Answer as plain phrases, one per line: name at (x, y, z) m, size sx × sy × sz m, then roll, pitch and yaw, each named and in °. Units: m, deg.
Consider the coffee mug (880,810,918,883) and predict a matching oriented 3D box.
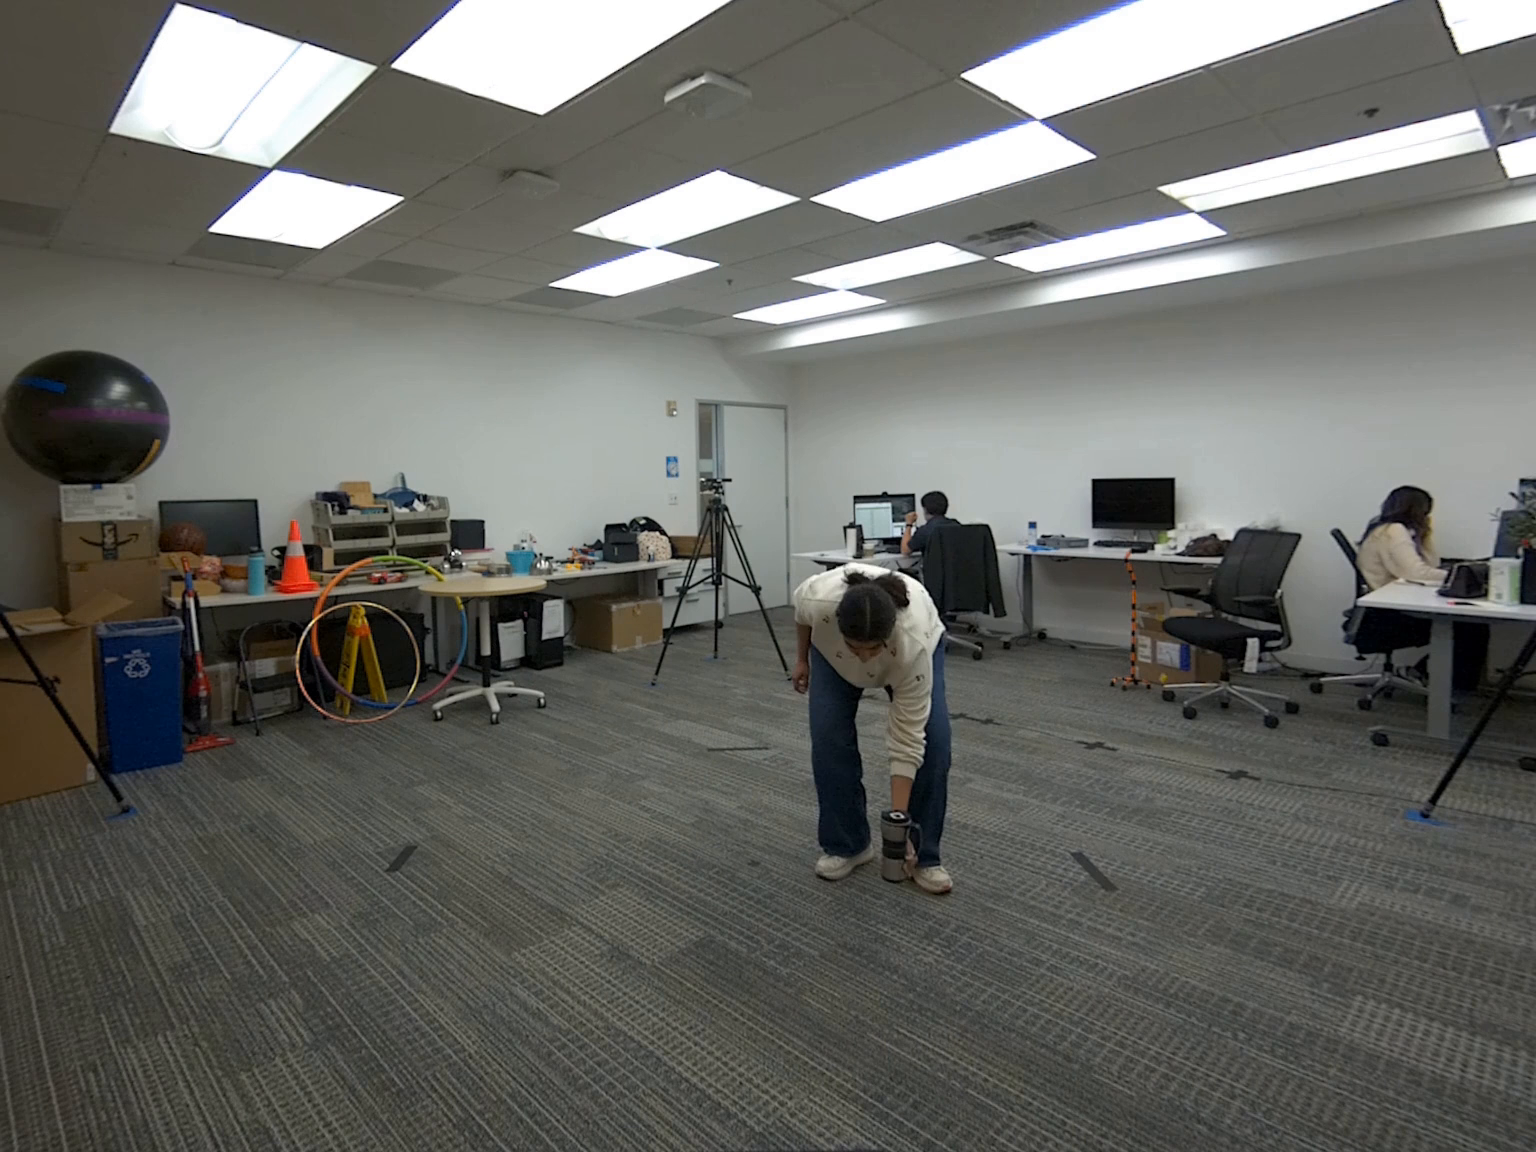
coffee mug at (0.406, 0.817, 2.547) m, size 0.125 × 0.202 × 0.085 m, roll 2°, pitch 4°, yaw 40°
